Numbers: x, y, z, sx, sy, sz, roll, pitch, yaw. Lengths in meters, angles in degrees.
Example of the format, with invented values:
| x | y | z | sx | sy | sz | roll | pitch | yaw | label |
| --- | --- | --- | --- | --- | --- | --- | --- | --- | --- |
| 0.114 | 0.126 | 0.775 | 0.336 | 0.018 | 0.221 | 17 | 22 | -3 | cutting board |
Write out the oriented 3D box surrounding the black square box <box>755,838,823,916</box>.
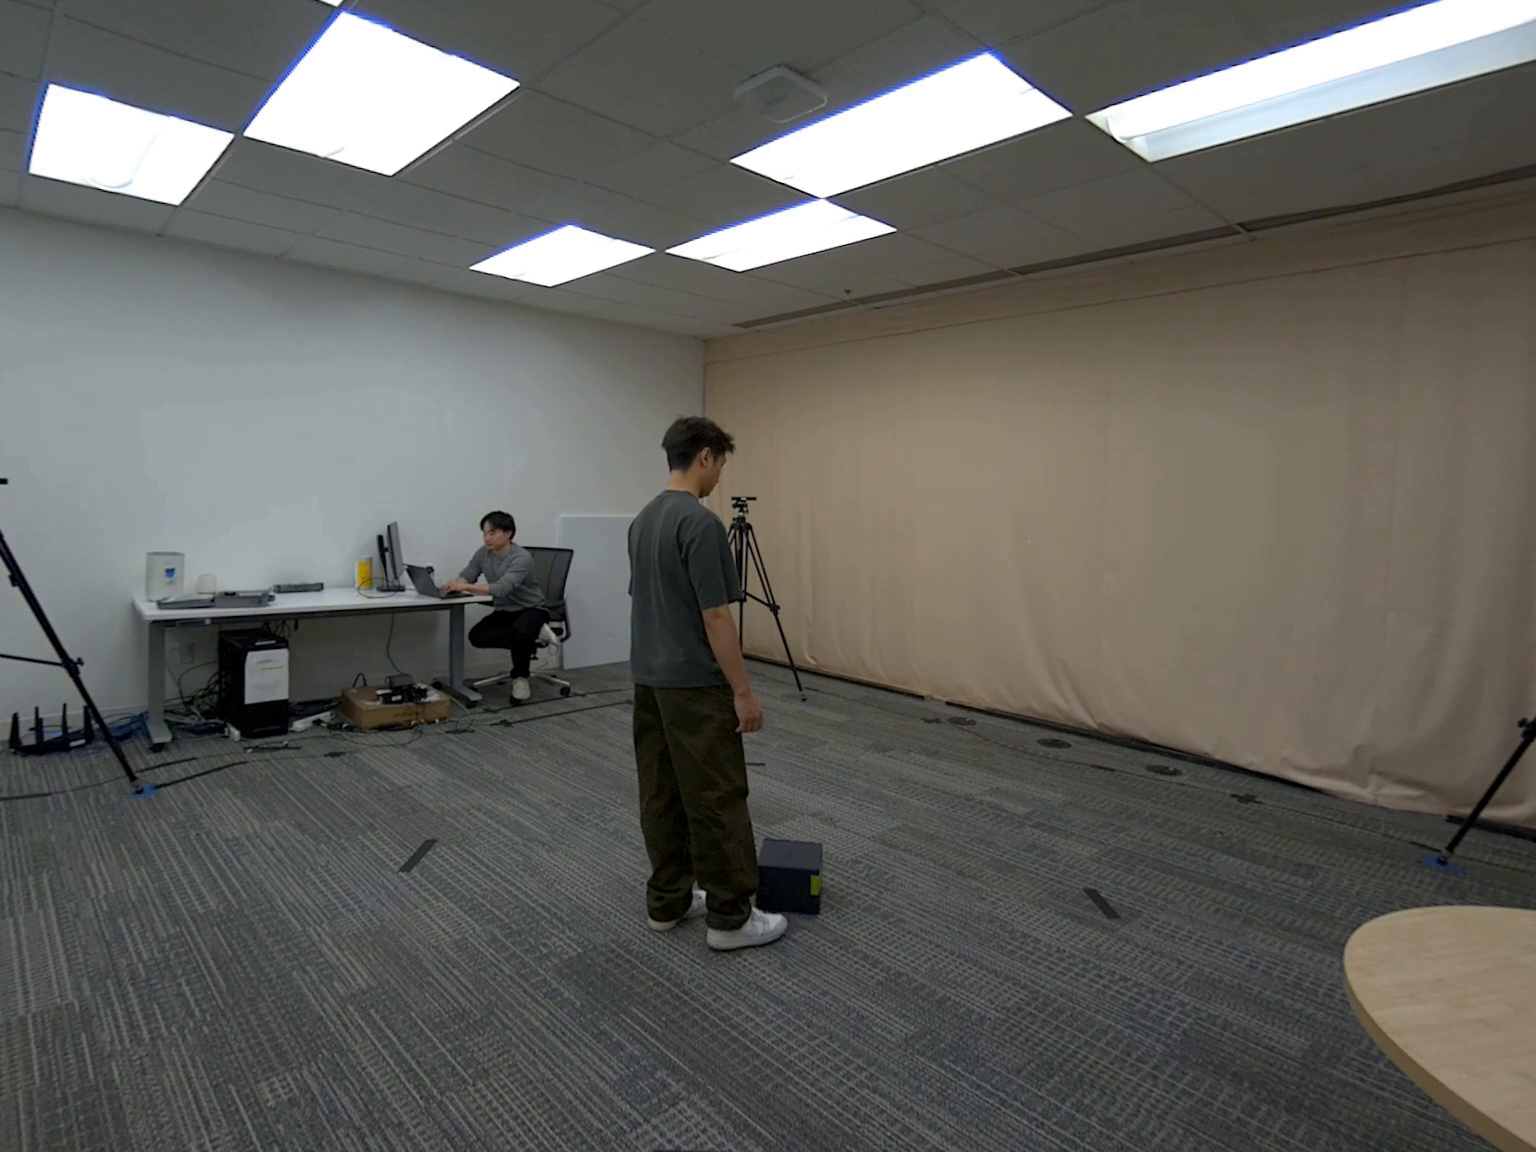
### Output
| x | y | z | sx | sy | sz | roll | pitch | yaw | label |
| --- | --- | --- | --- | --- | --- | --- | --- | --- | --- |
| 0.072 | 1.043 | 2.941 | 0.218 | 0.155 | 0.227 | 1 | 5 | 7 | black square box |
